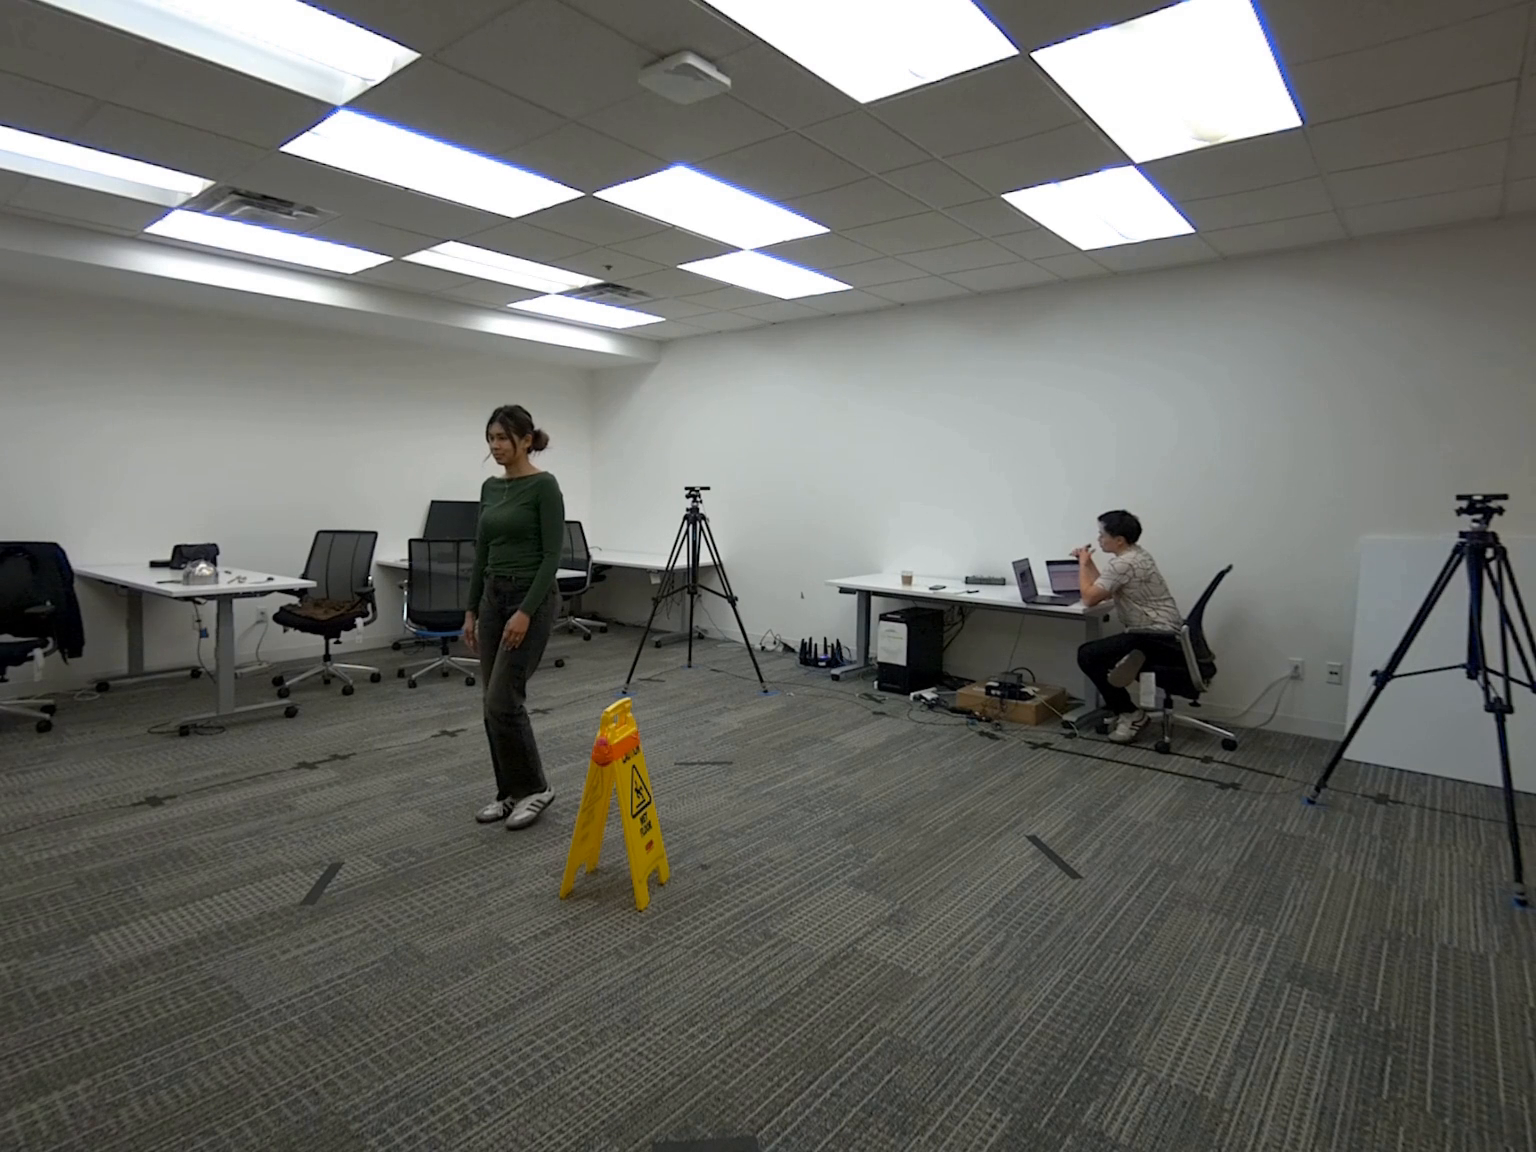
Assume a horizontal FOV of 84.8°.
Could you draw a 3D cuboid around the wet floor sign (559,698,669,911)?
[{"bbox_3d":[-0.529,0.754,2.931,0.295,0.644,0.278,2,4,15],"label":"wet floor sign"}]
